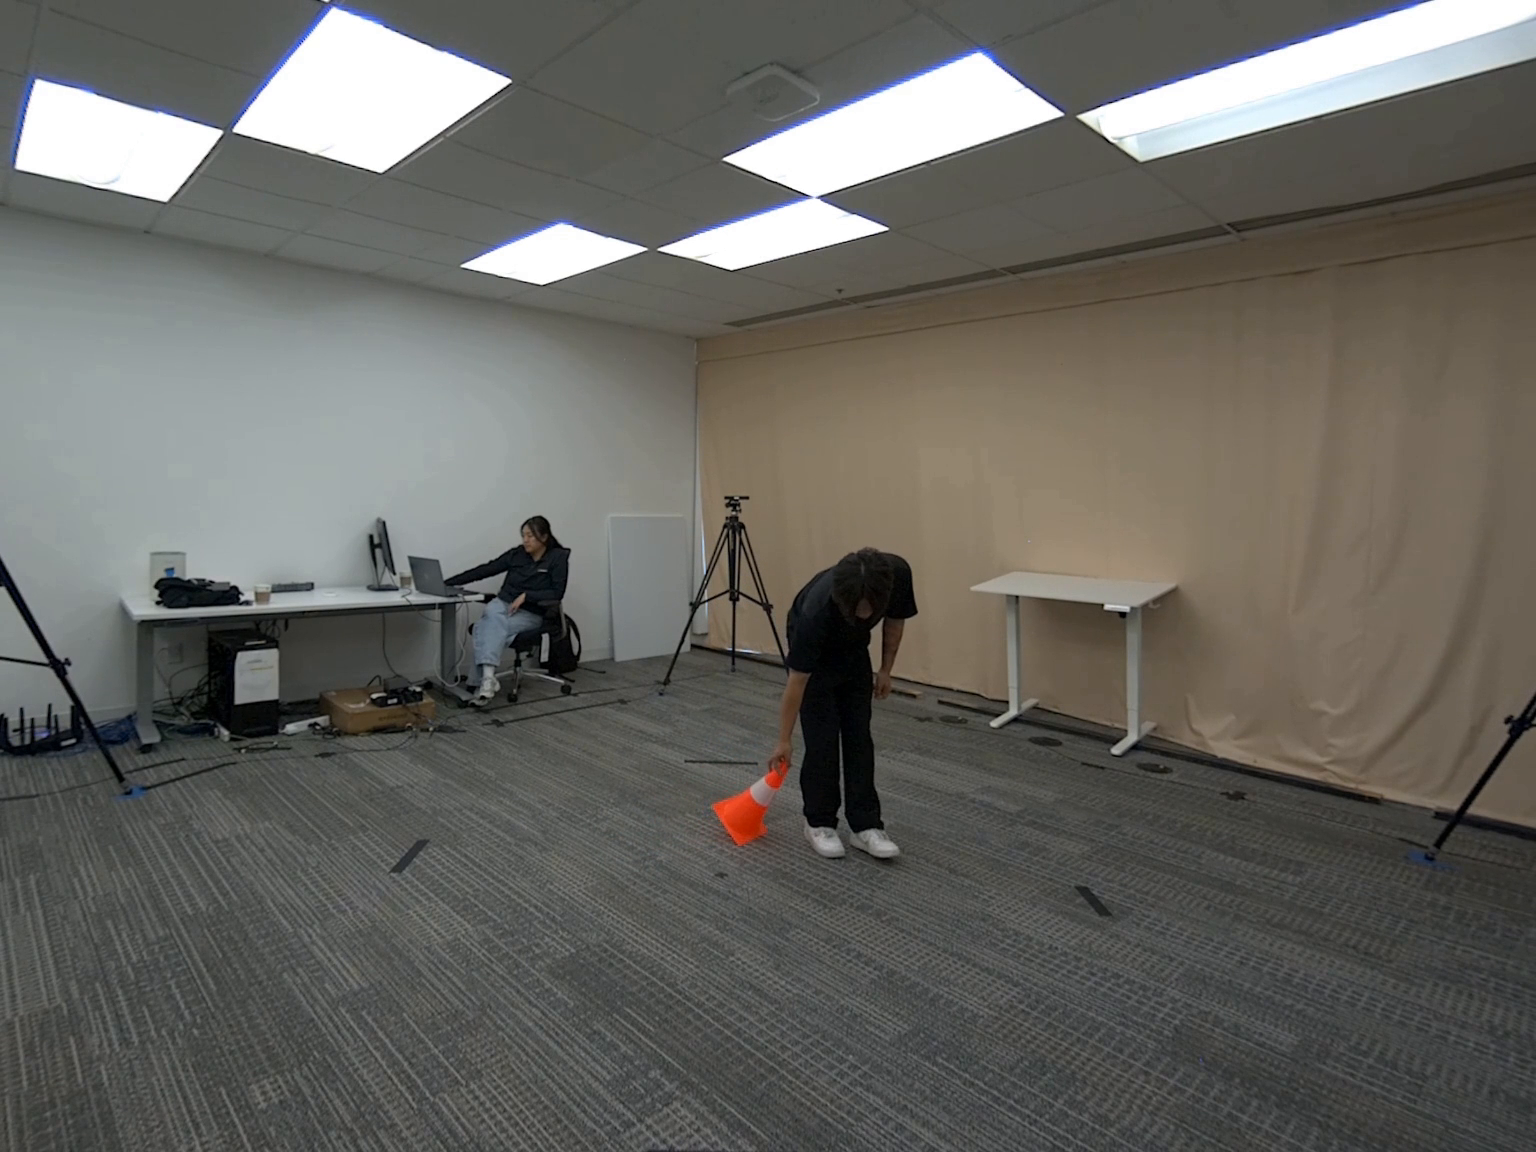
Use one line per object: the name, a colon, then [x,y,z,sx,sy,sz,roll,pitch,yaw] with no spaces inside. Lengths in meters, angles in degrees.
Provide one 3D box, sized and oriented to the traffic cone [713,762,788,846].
traffic cone: [-0.020,0.866,3.405,0.210,0.382,0.199,45,26,24]
